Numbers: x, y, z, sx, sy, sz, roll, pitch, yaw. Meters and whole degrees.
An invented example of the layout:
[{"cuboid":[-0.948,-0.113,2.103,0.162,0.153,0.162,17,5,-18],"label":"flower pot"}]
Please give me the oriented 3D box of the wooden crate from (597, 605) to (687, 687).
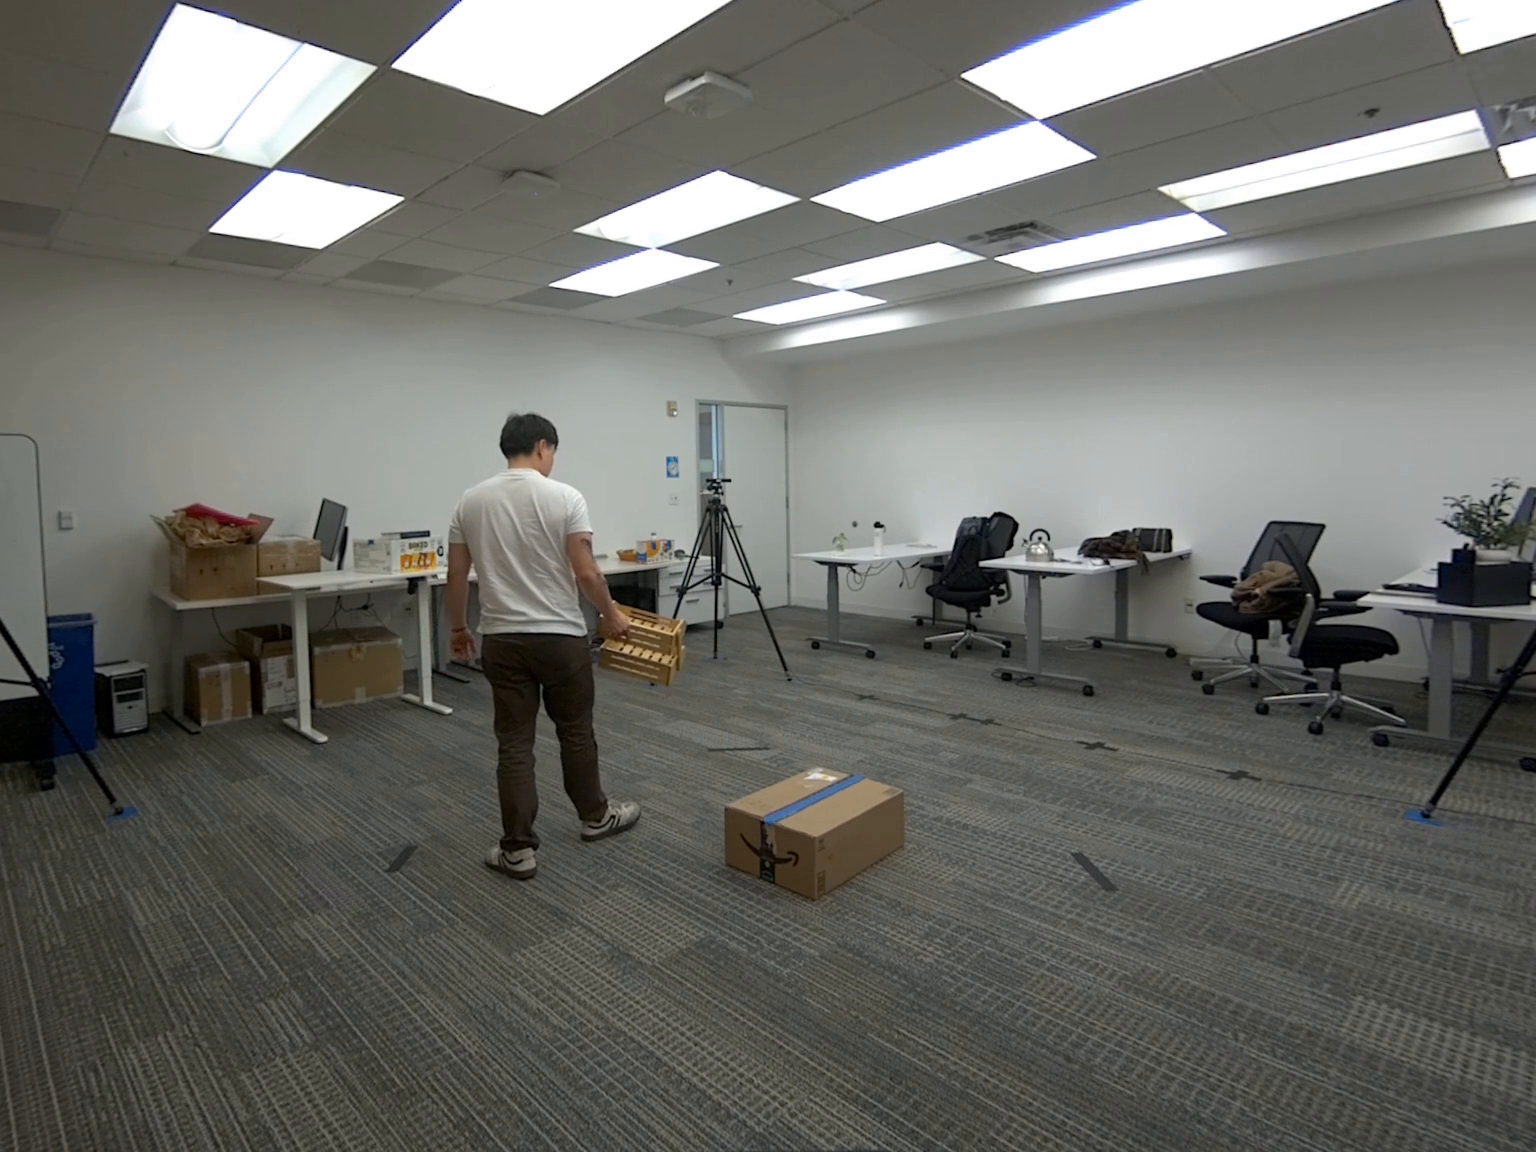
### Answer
[{"cuboid":[-0.500,0.243,3.473,0.327,0.269,0.304,12,23,6],"label":"wooden crate"}]
